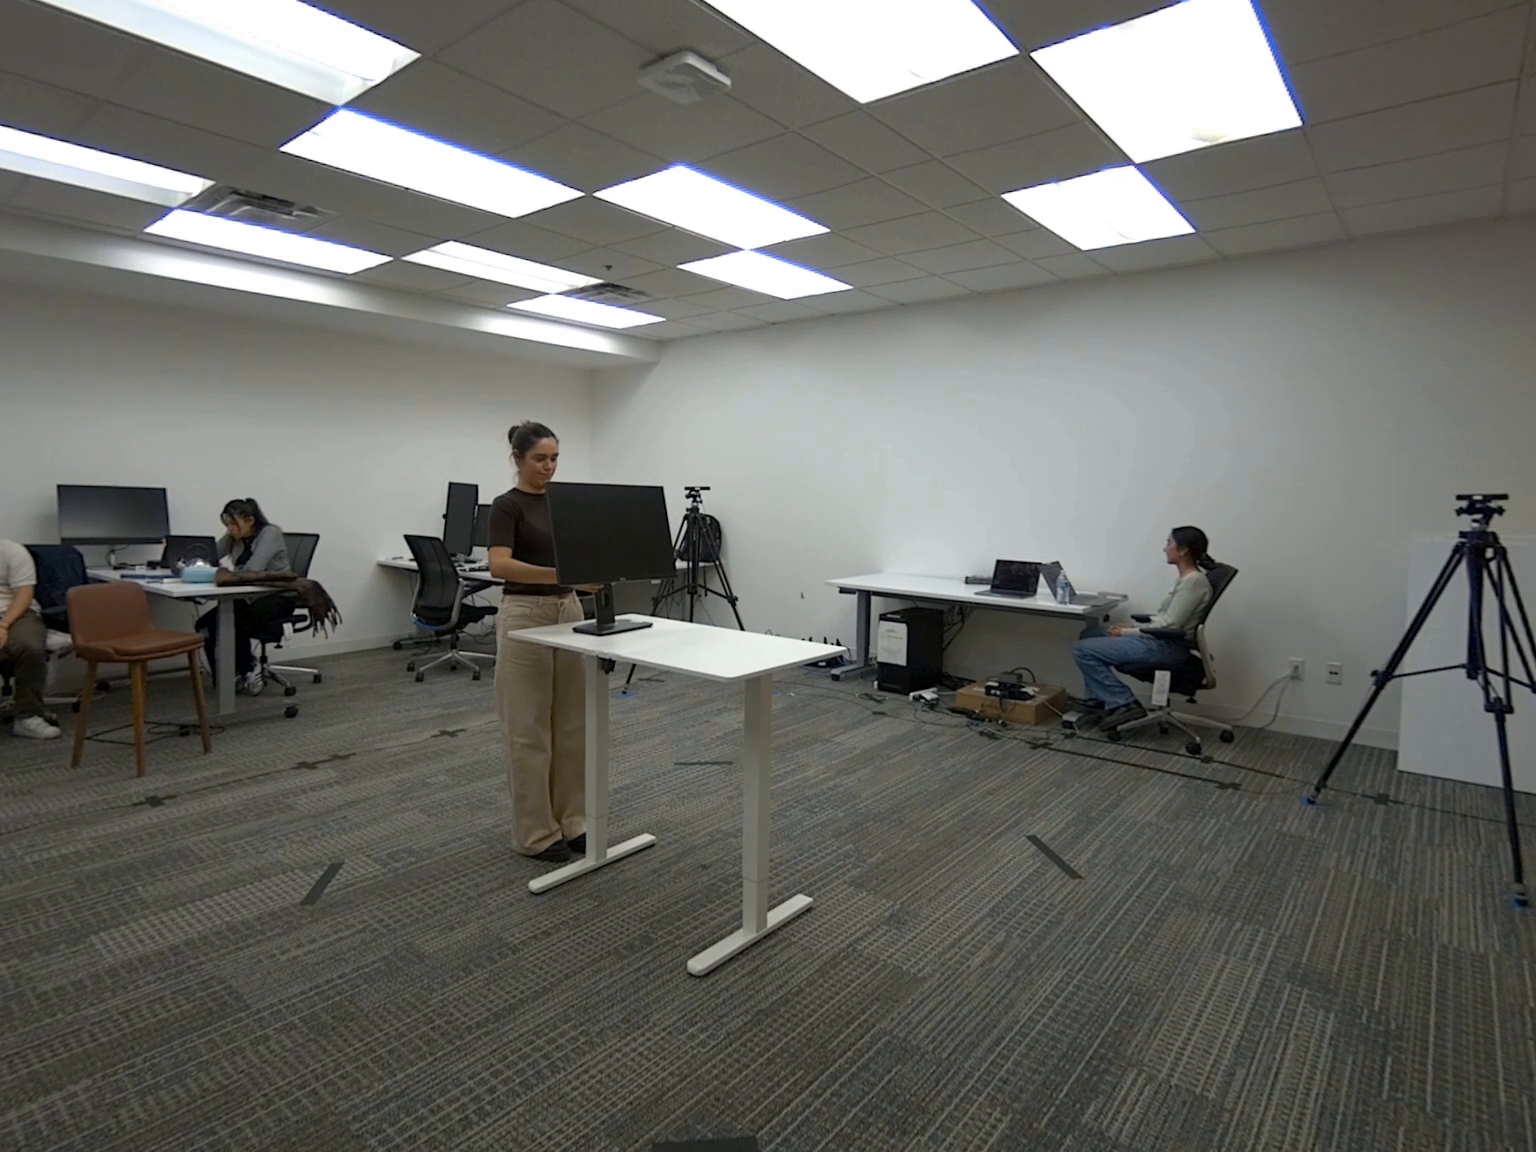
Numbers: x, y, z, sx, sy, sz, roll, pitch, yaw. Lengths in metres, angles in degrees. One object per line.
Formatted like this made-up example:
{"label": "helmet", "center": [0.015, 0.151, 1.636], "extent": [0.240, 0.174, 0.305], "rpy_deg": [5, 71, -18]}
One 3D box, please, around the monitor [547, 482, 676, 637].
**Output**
{"label": "monitor", "center": [-0.577, -0.066, 3.009], "extent": [0.193, 0.522, 0.523], "rpy_deg": [1, 2, 39]}
